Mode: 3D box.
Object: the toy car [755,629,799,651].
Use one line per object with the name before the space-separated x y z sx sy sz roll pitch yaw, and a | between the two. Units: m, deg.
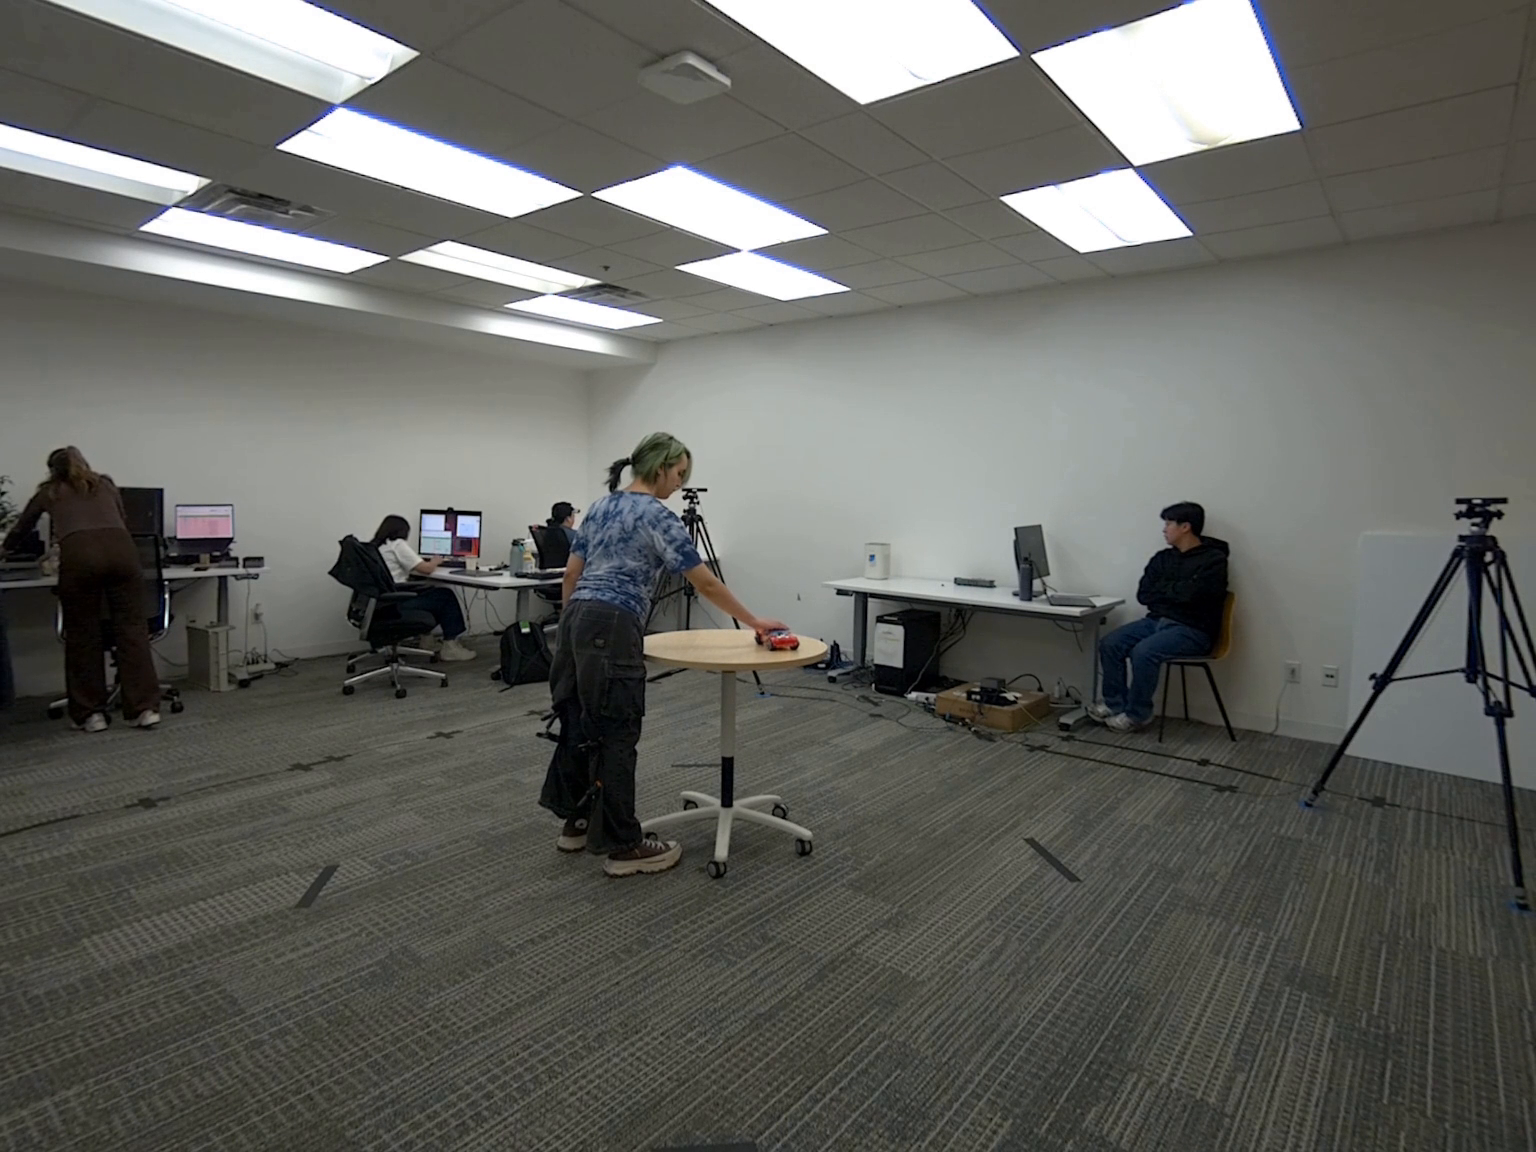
toy car | 0.015 0.240 3.324 0.128 0.082 0.262 -2 17 -14
